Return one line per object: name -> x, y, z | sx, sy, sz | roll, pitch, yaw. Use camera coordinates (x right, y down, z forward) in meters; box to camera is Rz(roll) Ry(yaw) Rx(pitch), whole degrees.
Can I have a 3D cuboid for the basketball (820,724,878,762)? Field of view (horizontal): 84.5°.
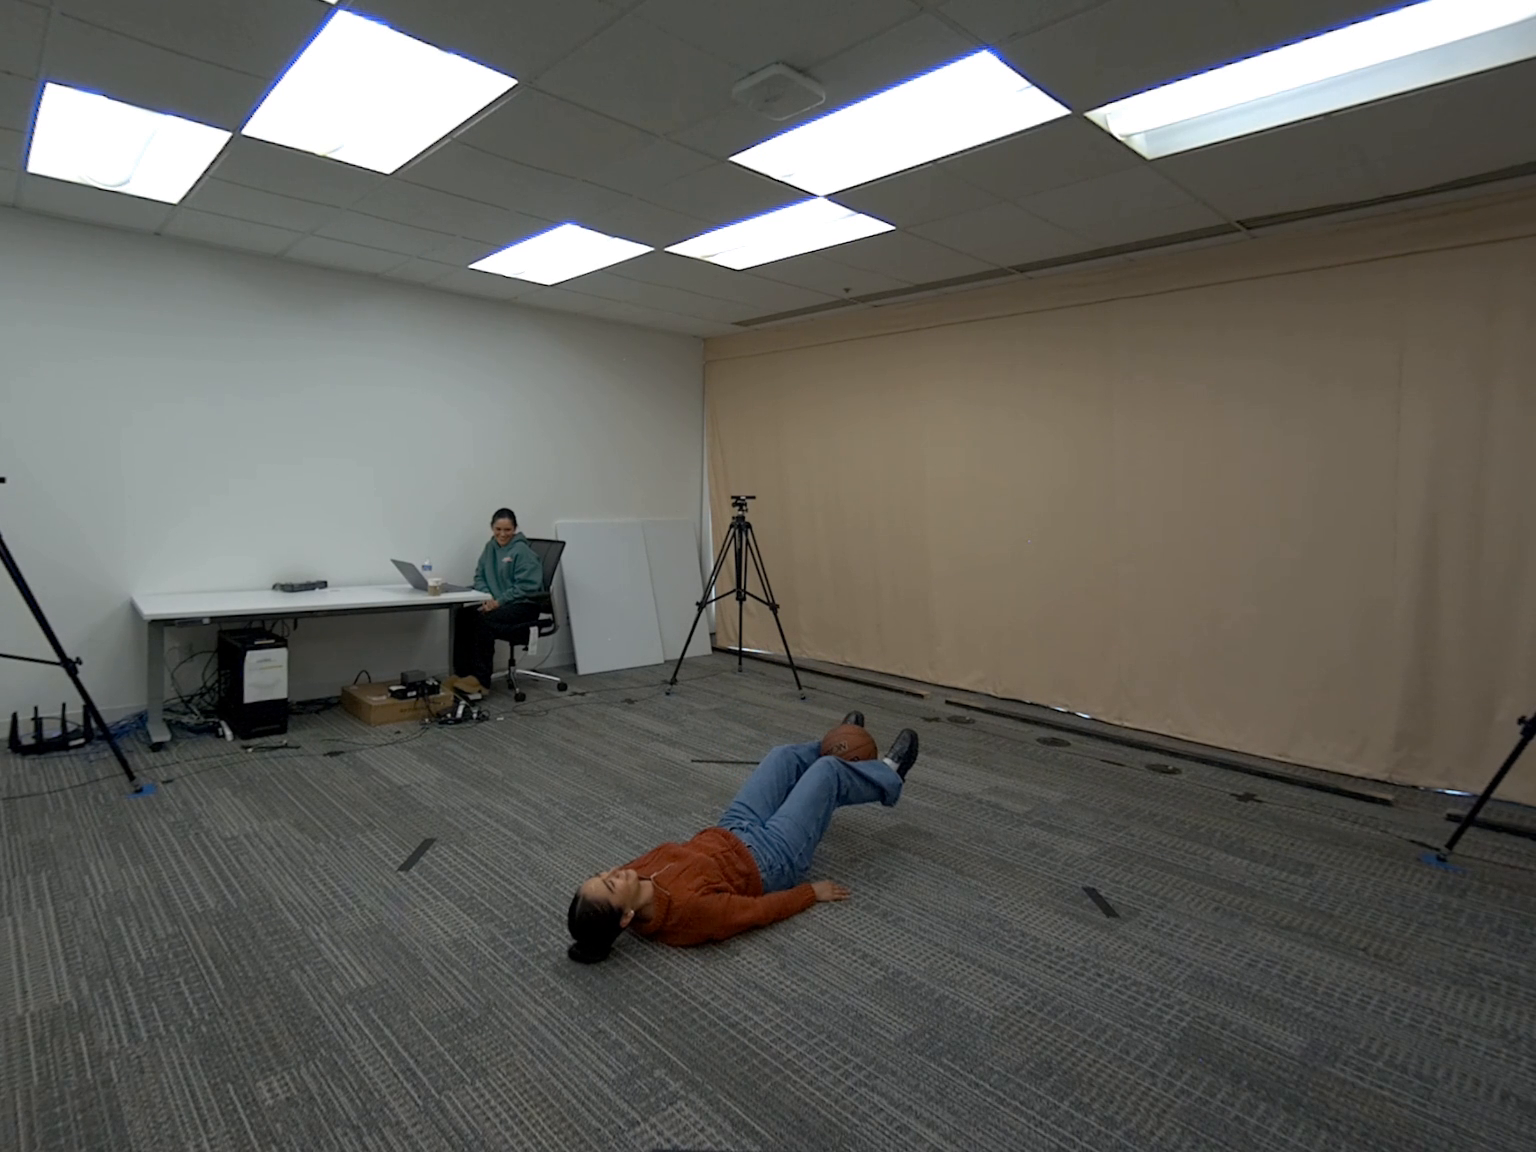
basketball -> 0.332, 0.738, 3.479 | 0.236, 0.235, 0.237 | 1, 4, -1
